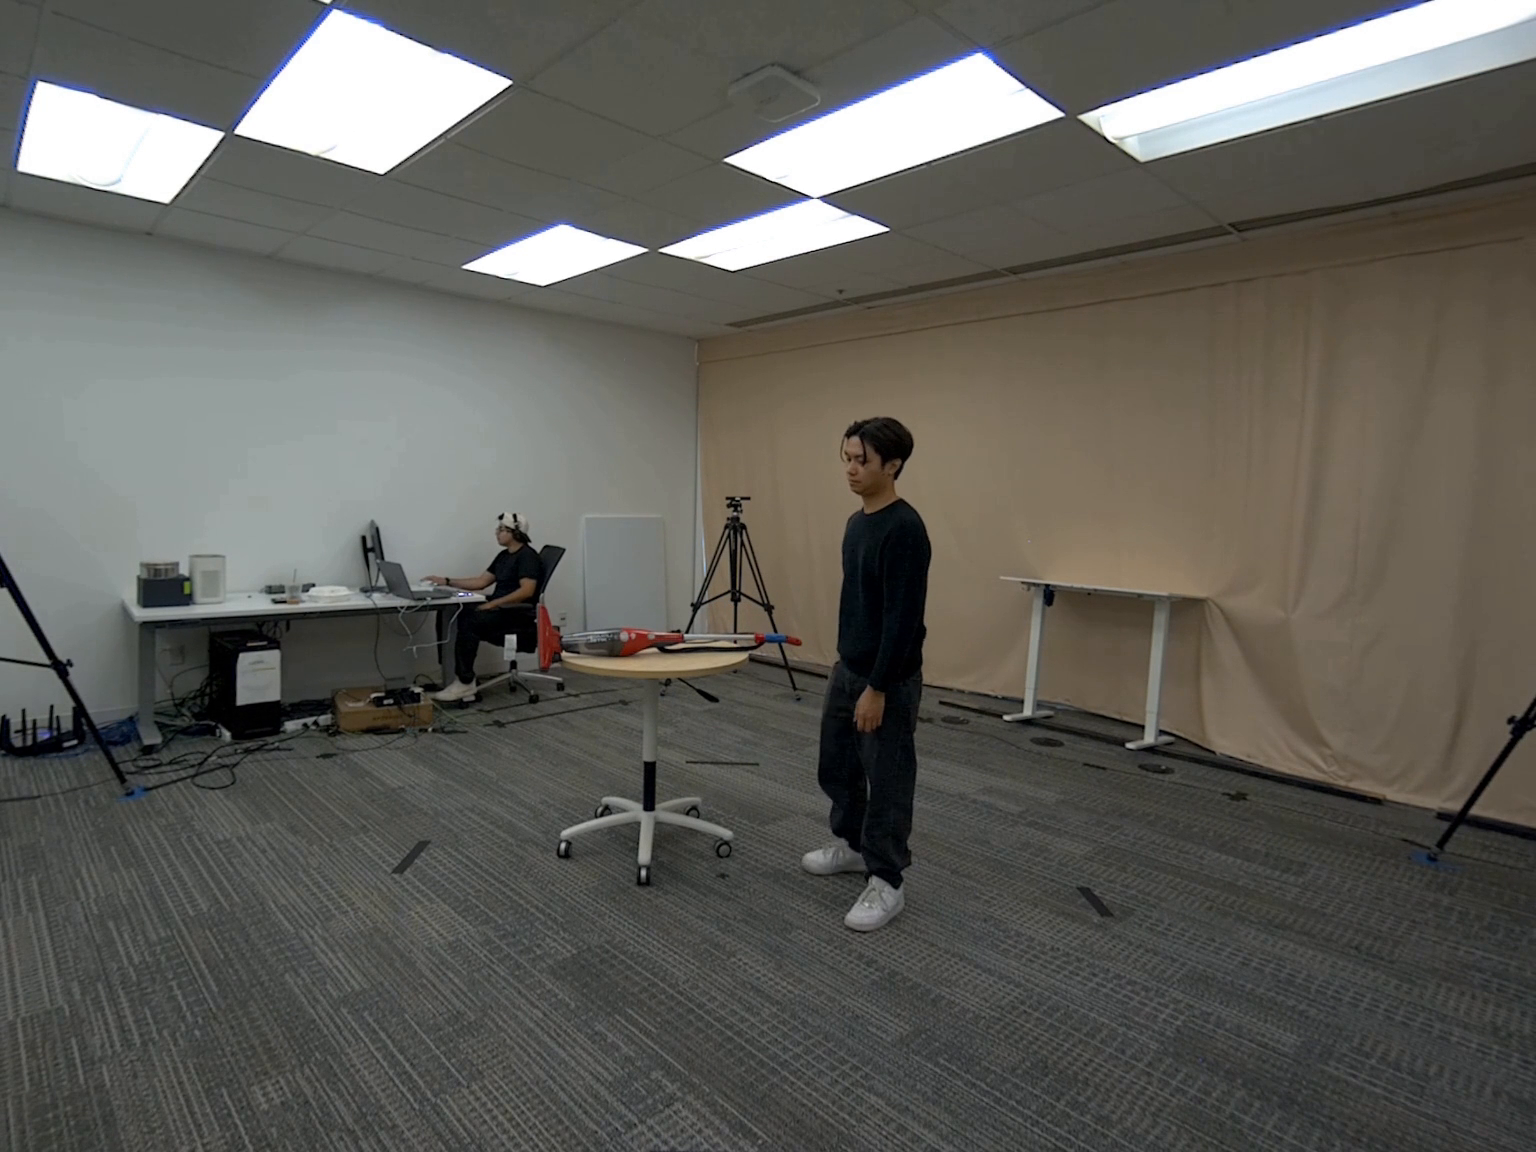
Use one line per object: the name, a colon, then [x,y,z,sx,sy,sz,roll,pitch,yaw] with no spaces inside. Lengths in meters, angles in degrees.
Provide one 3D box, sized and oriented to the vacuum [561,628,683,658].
vacuum: [-0.341,0.265,3.278,1.030,0.257,0.144,3,-25,-24]
